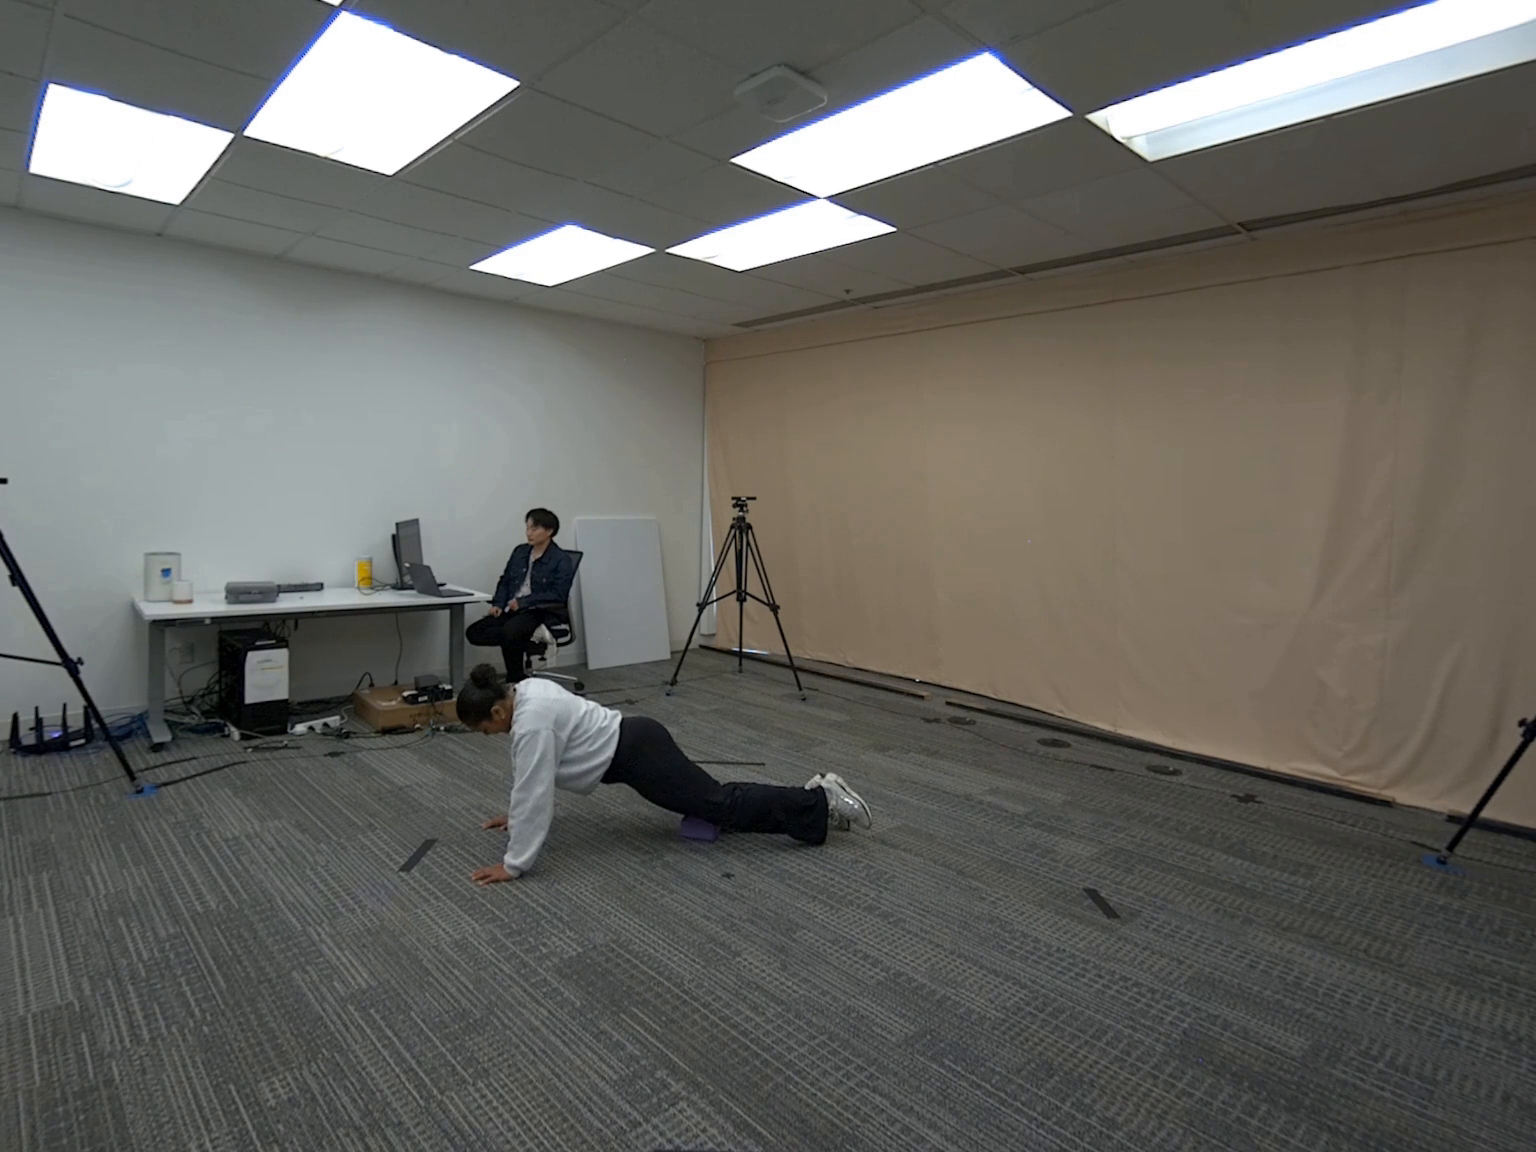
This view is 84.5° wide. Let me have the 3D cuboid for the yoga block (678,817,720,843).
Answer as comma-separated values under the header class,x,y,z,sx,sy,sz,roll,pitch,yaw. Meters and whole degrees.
class,x,y,z,sx,sy,sz,roll,pitch,yaw
yoga block,-0.267,1.013,3.524,0.150,0.076,0.228,5,7,9
